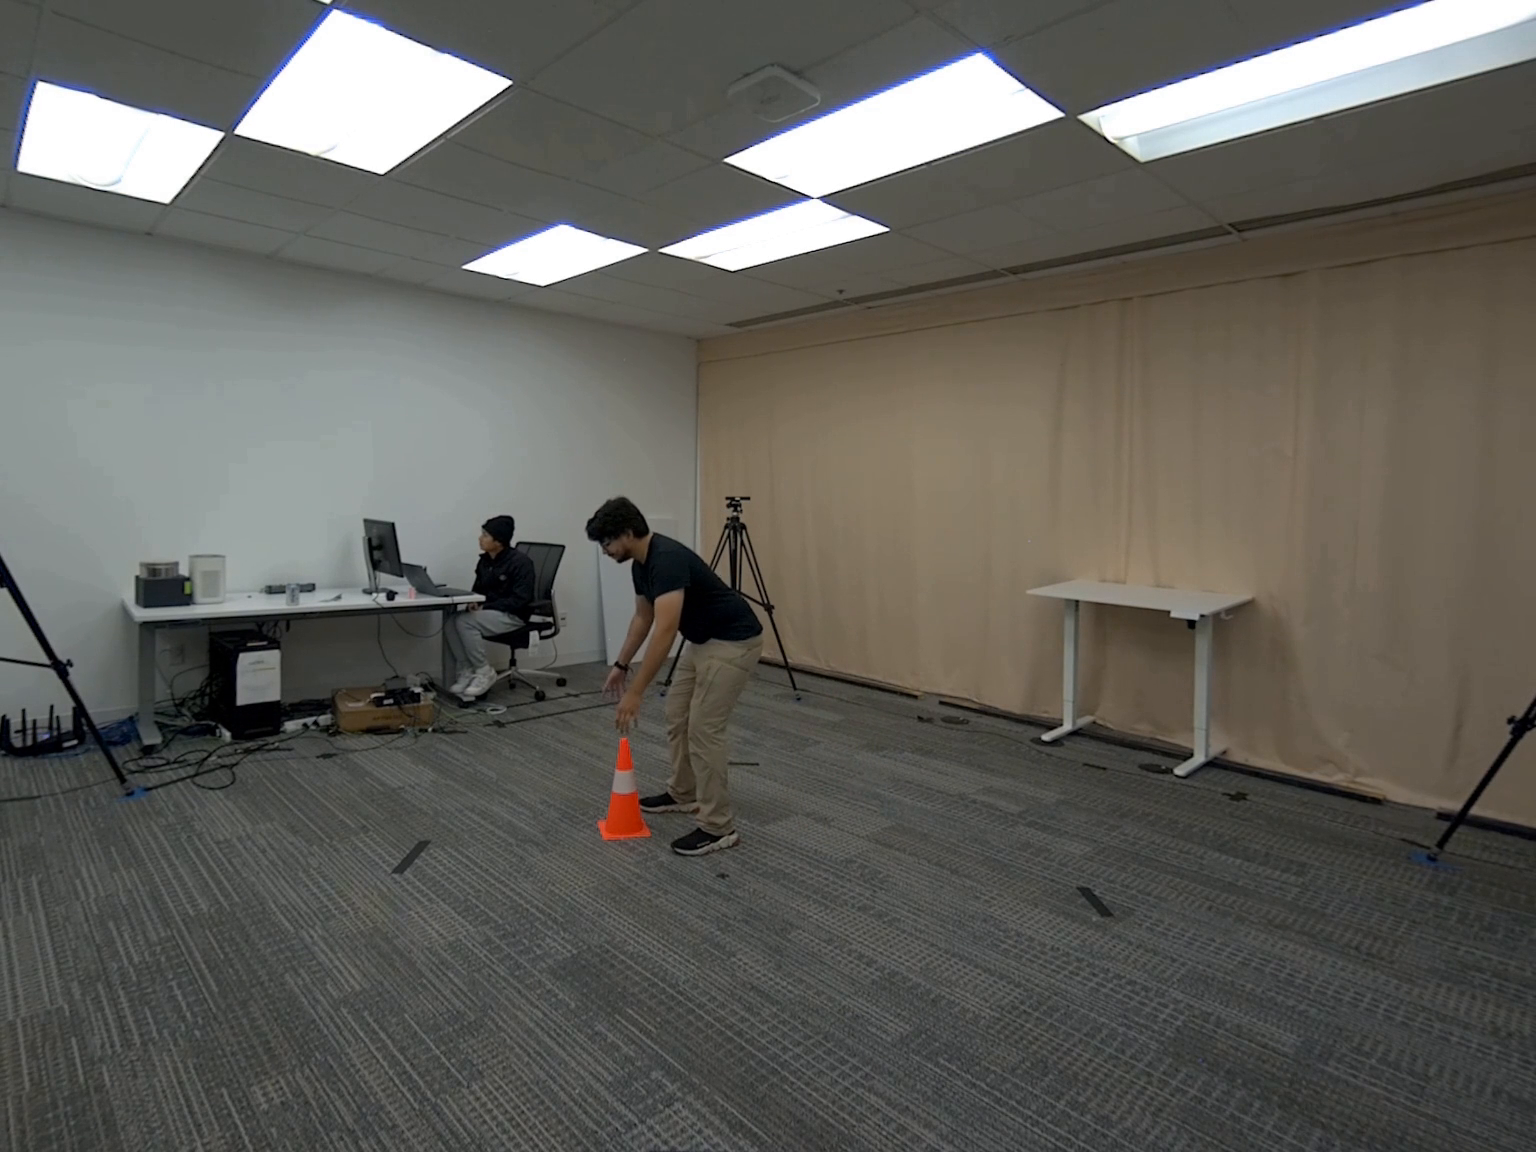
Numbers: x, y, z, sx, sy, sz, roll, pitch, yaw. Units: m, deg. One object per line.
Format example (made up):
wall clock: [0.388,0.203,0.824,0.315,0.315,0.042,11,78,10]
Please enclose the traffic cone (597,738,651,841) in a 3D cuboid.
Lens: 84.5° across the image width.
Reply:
traffic cone: [-0.608,0.871,3.510,0.201,0.382,0.208,0,6,-14]
